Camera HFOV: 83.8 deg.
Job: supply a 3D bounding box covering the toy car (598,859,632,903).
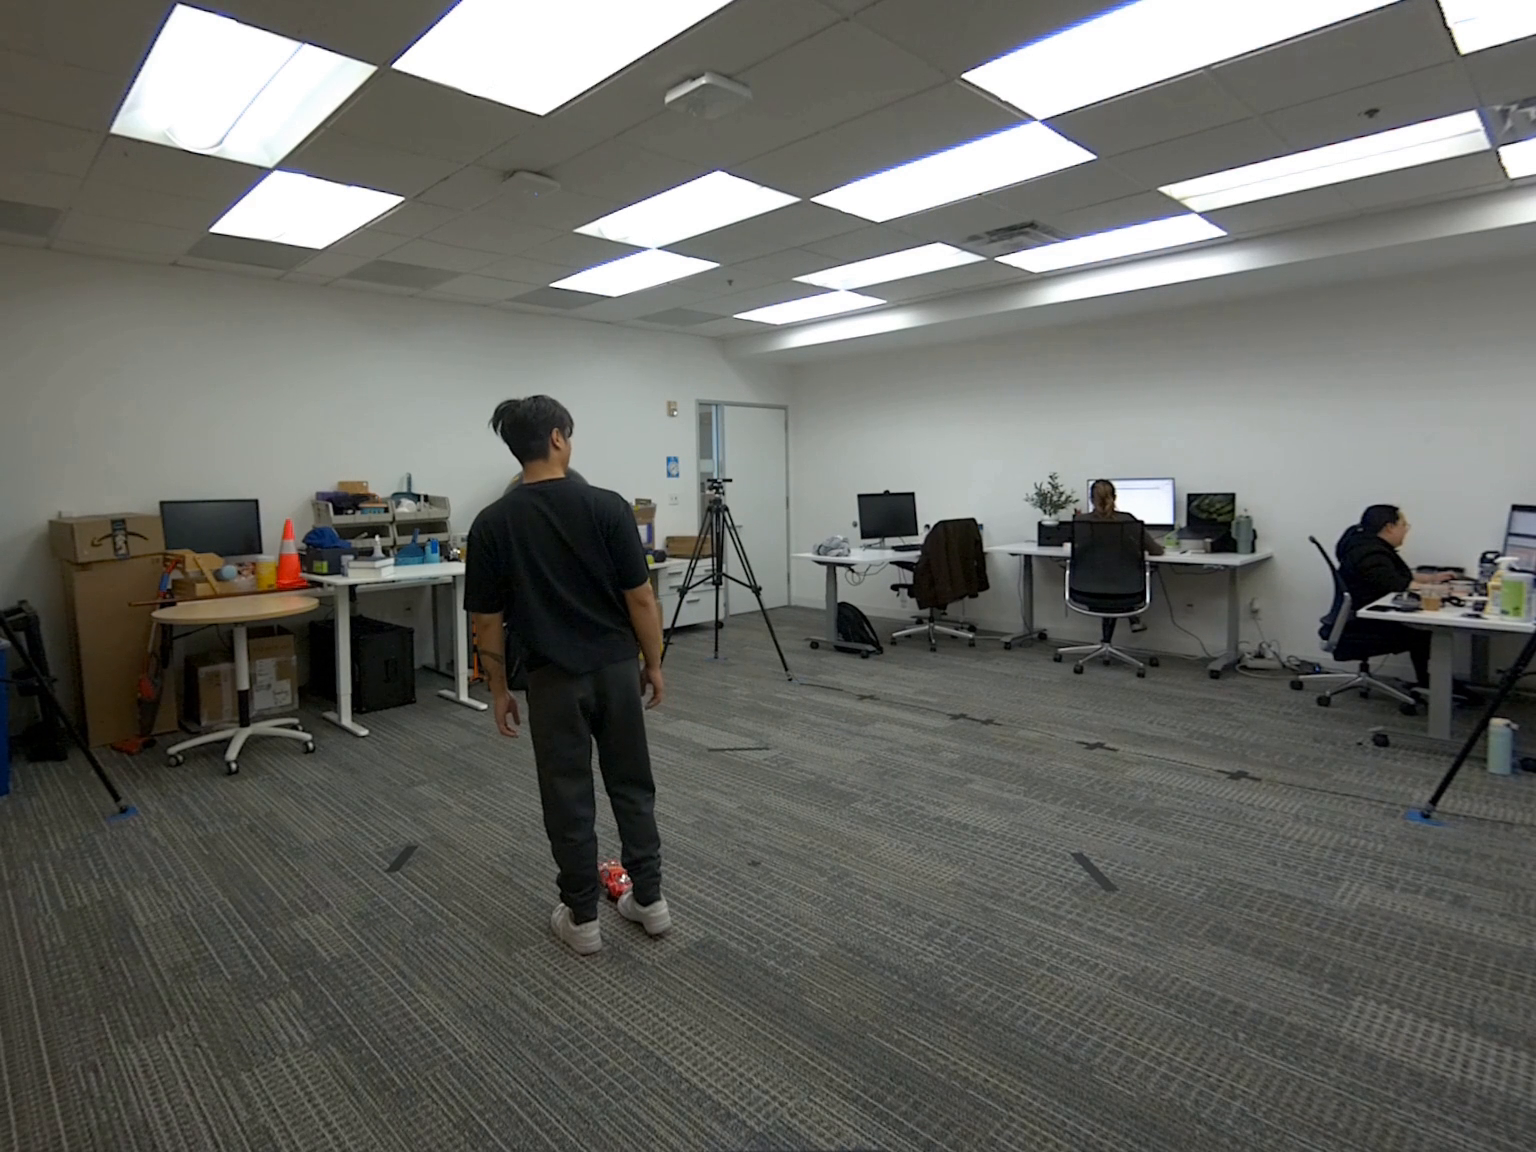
[{"bbox_3d":[-0.514,1.045,2.934,0.127,0.083,0.258,-5,-4,-26],"label":"toy car"}]
